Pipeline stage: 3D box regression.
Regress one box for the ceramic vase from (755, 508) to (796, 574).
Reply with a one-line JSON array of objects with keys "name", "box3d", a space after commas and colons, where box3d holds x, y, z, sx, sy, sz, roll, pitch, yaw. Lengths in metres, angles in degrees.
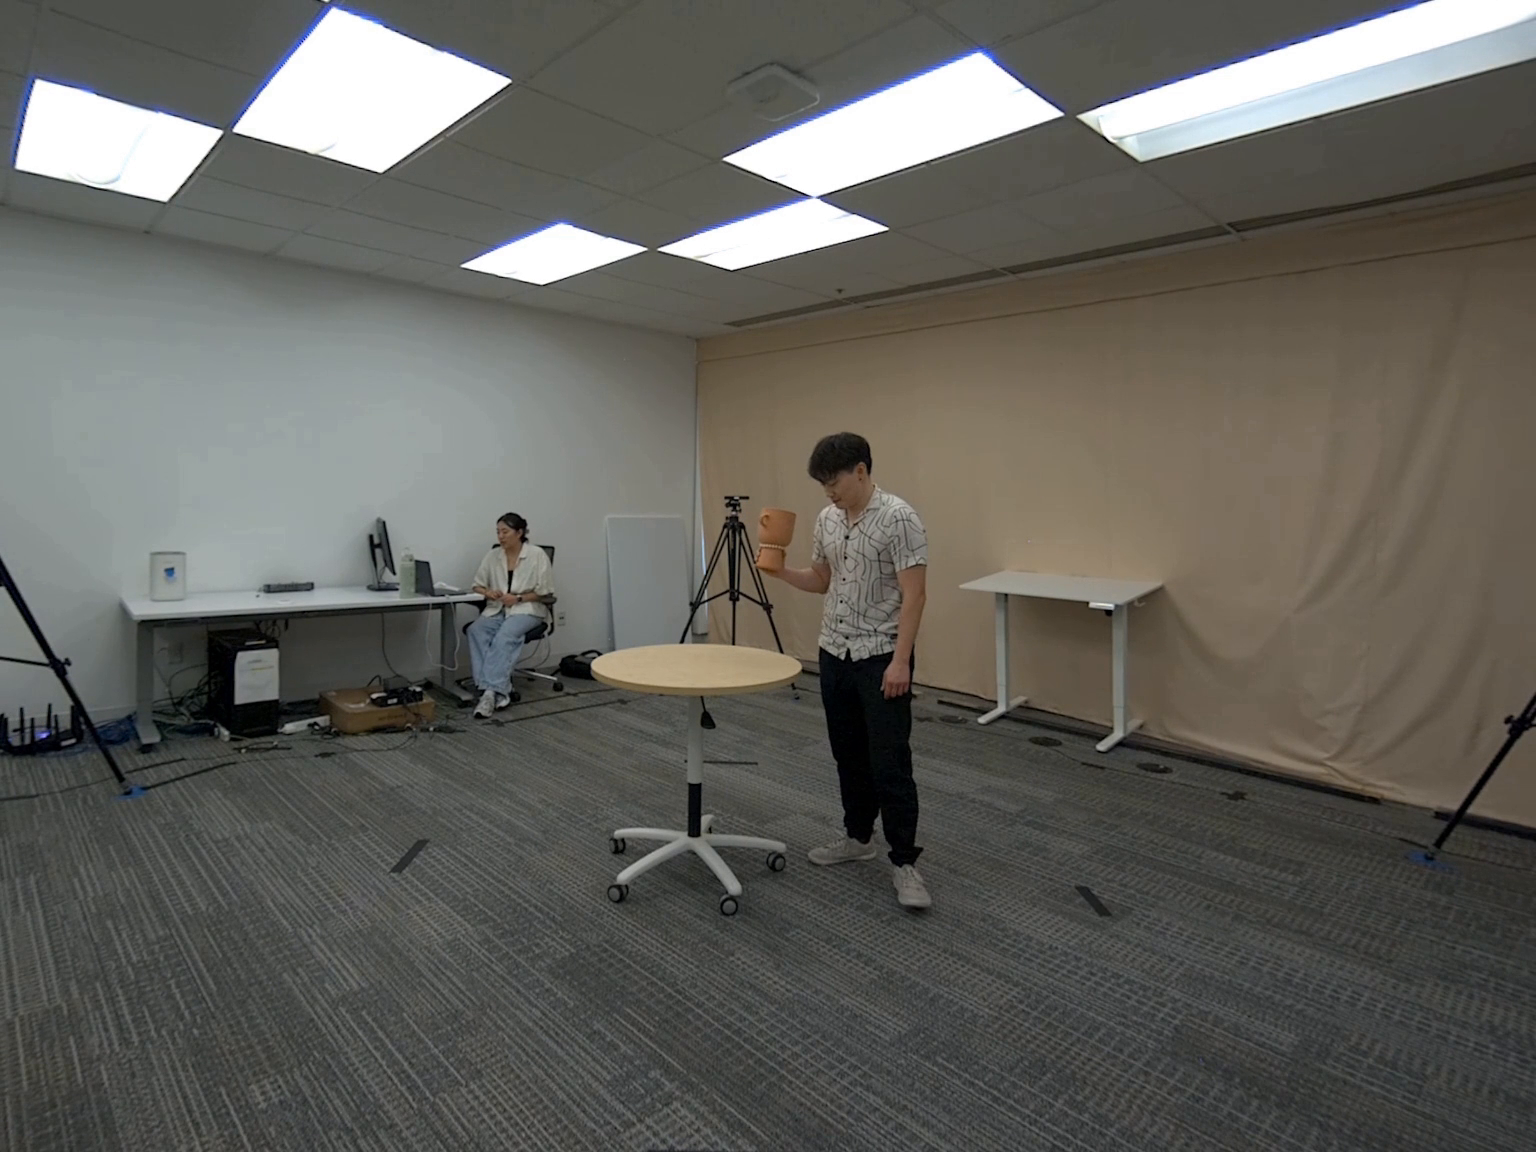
[{"name": "ceramic vase", "box3d": [0.021, -0.137, 3.157, 0.157, 0.220, 0.136, 10, -3, -12]}]
